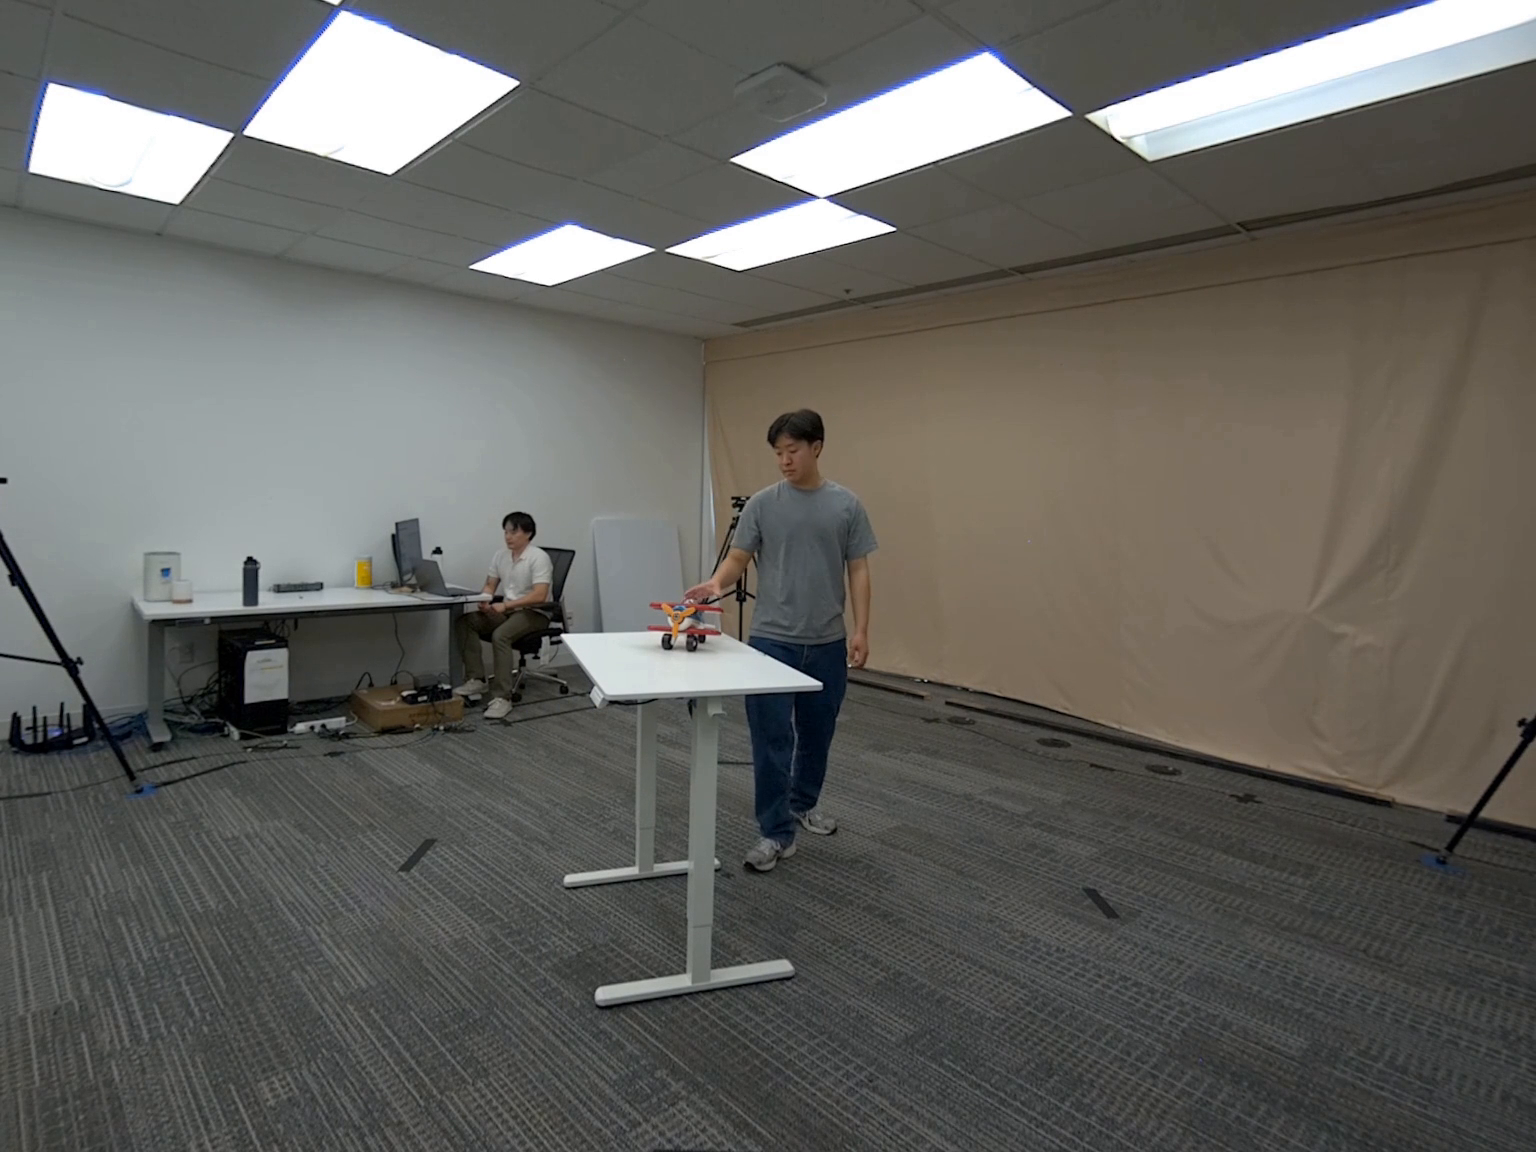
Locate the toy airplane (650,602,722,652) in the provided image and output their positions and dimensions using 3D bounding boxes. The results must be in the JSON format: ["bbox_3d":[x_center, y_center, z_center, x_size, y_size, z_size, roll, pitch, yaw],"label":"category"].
[{"bbox_3d":[-0.299,0.163,2.873,0.248,0.156,0.263,1,5,-16],"label":"toy airplane"}]
